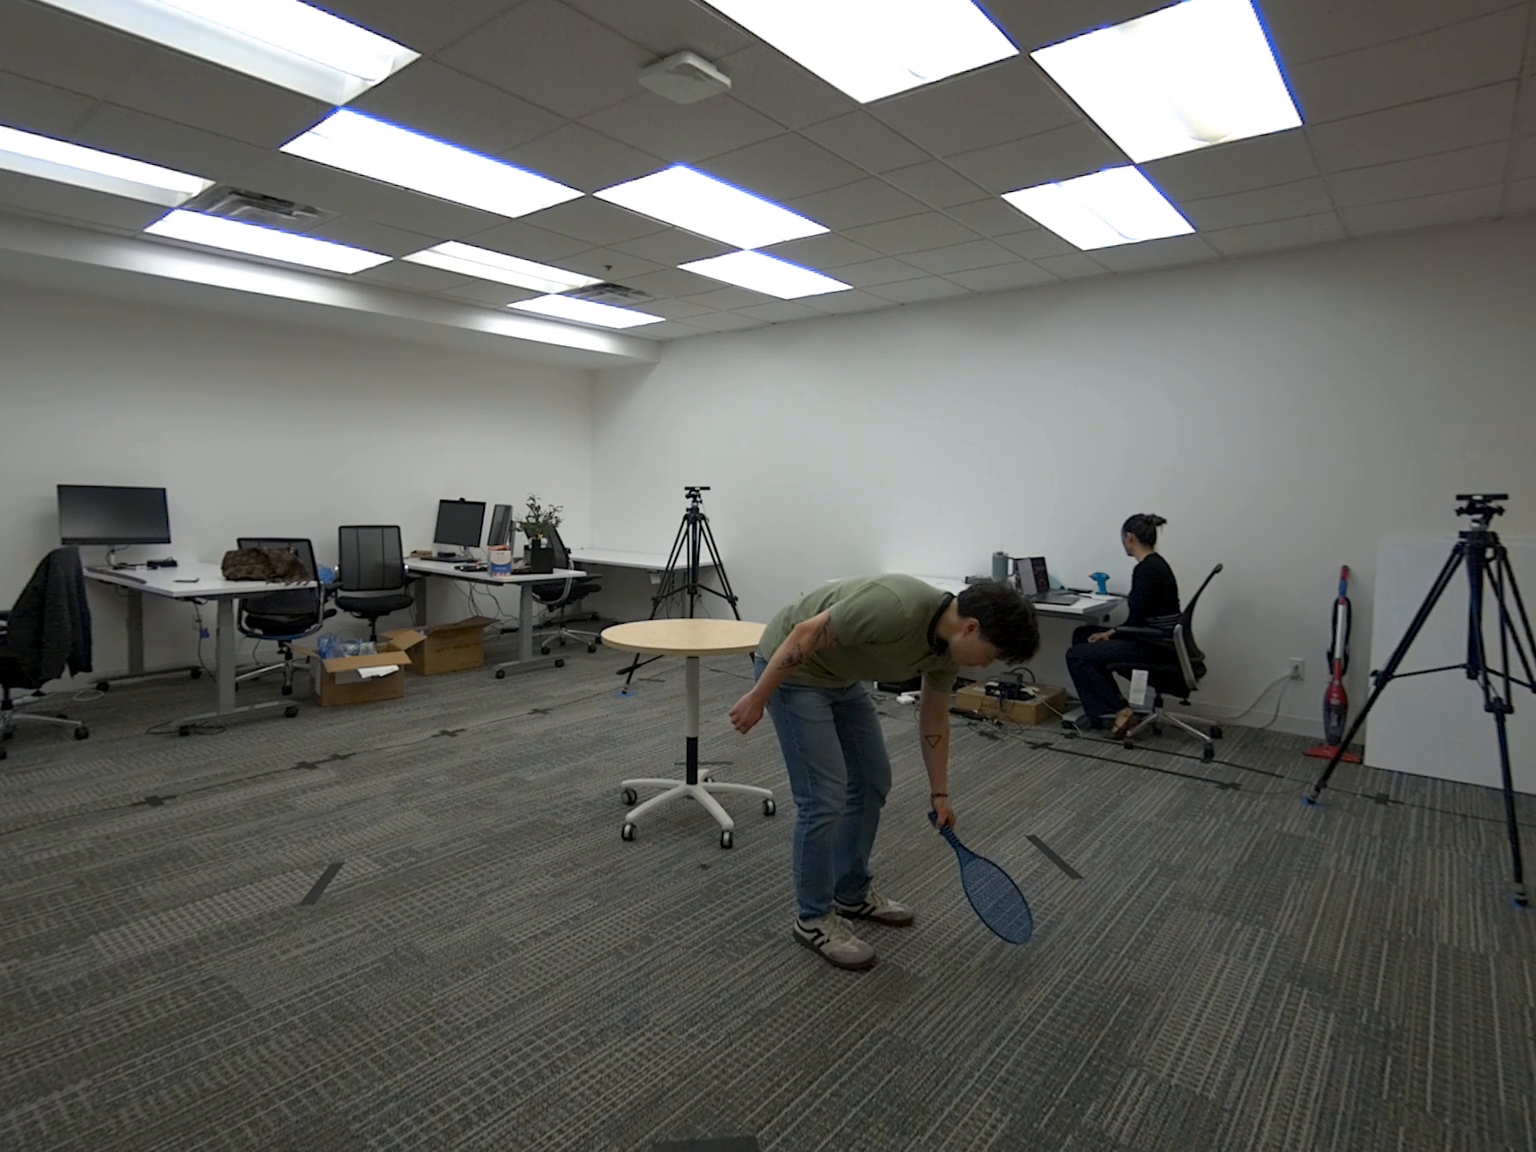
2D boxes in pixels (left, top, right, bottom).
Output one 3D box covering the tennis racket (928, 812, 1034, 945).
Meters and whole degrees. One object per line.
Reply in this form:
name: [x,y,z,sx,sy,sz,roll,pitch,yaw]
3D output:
tennis racket: [0.626,0.891,2.558,0.208,0.031,0.447,-11,55,-42]
